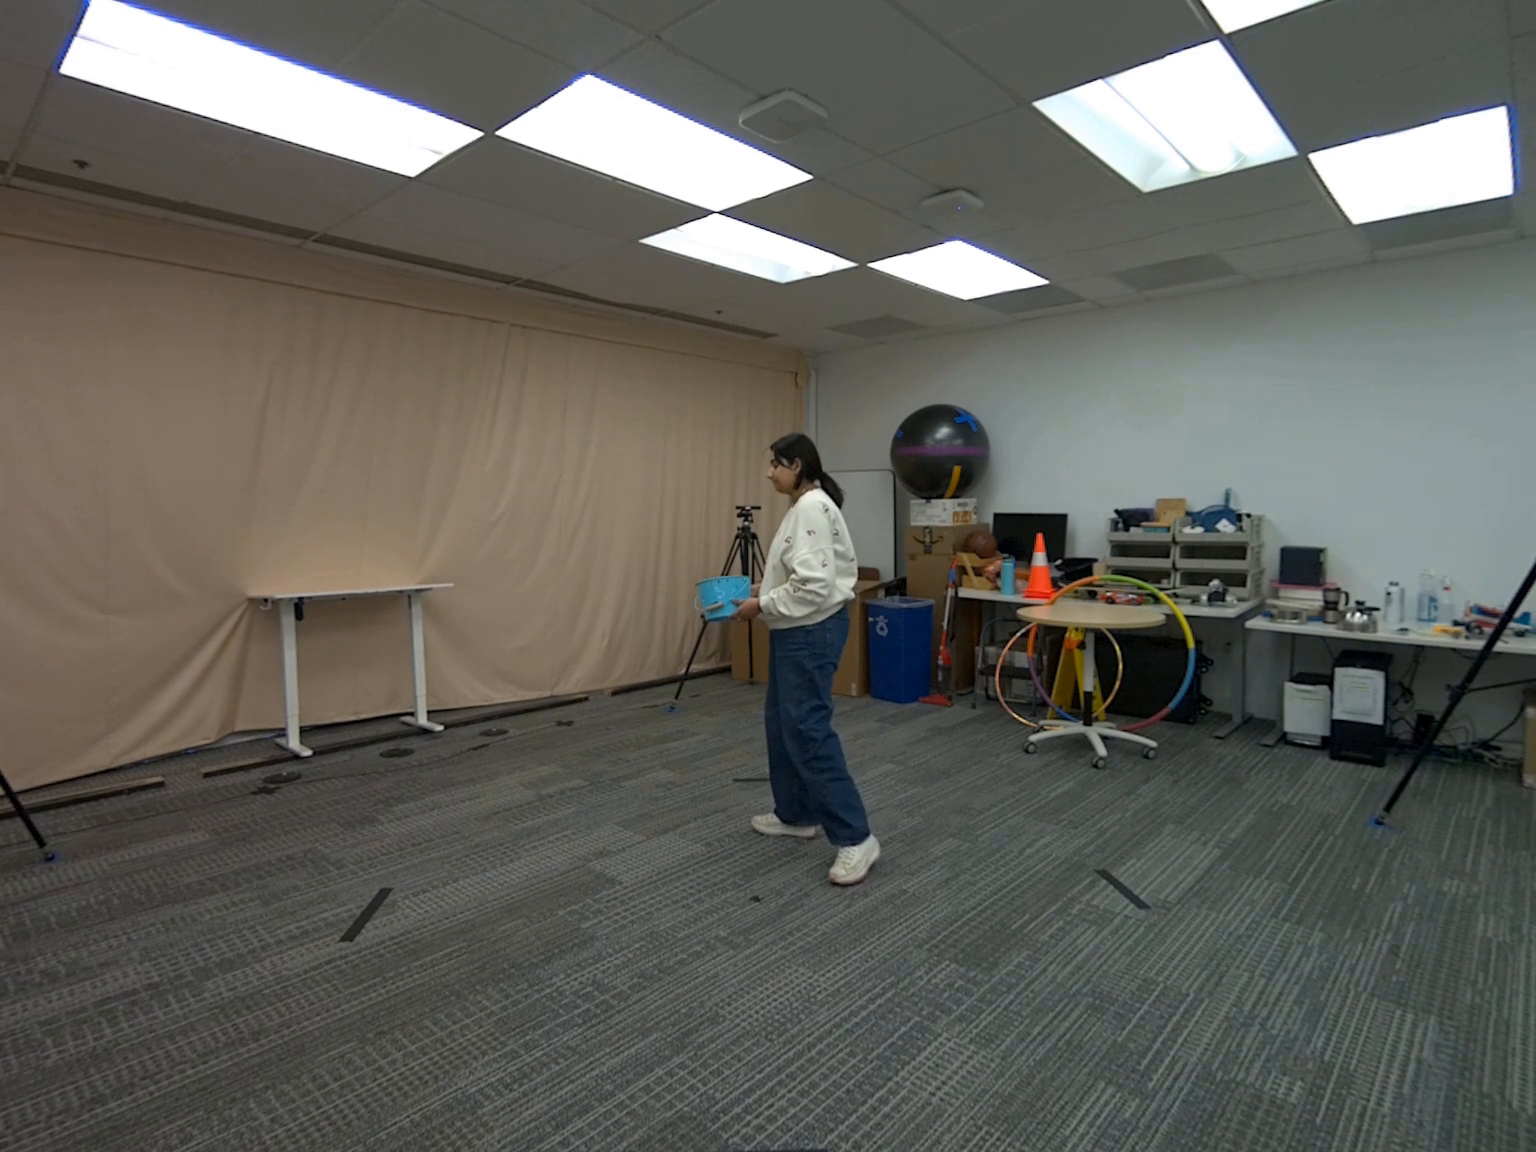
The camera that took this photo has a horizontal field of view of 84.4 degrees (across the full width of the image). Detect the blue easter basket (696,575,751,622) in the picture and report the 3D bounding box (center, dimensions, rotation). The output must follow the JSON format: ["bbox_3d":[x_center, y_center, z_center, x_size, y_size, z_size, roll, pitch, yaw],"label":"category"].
[{"bbox_3d":[-0.167,0.105,3.434,0.243,0.157,0.242,-5,-13,-3],"label":"blue easter basket"}]
